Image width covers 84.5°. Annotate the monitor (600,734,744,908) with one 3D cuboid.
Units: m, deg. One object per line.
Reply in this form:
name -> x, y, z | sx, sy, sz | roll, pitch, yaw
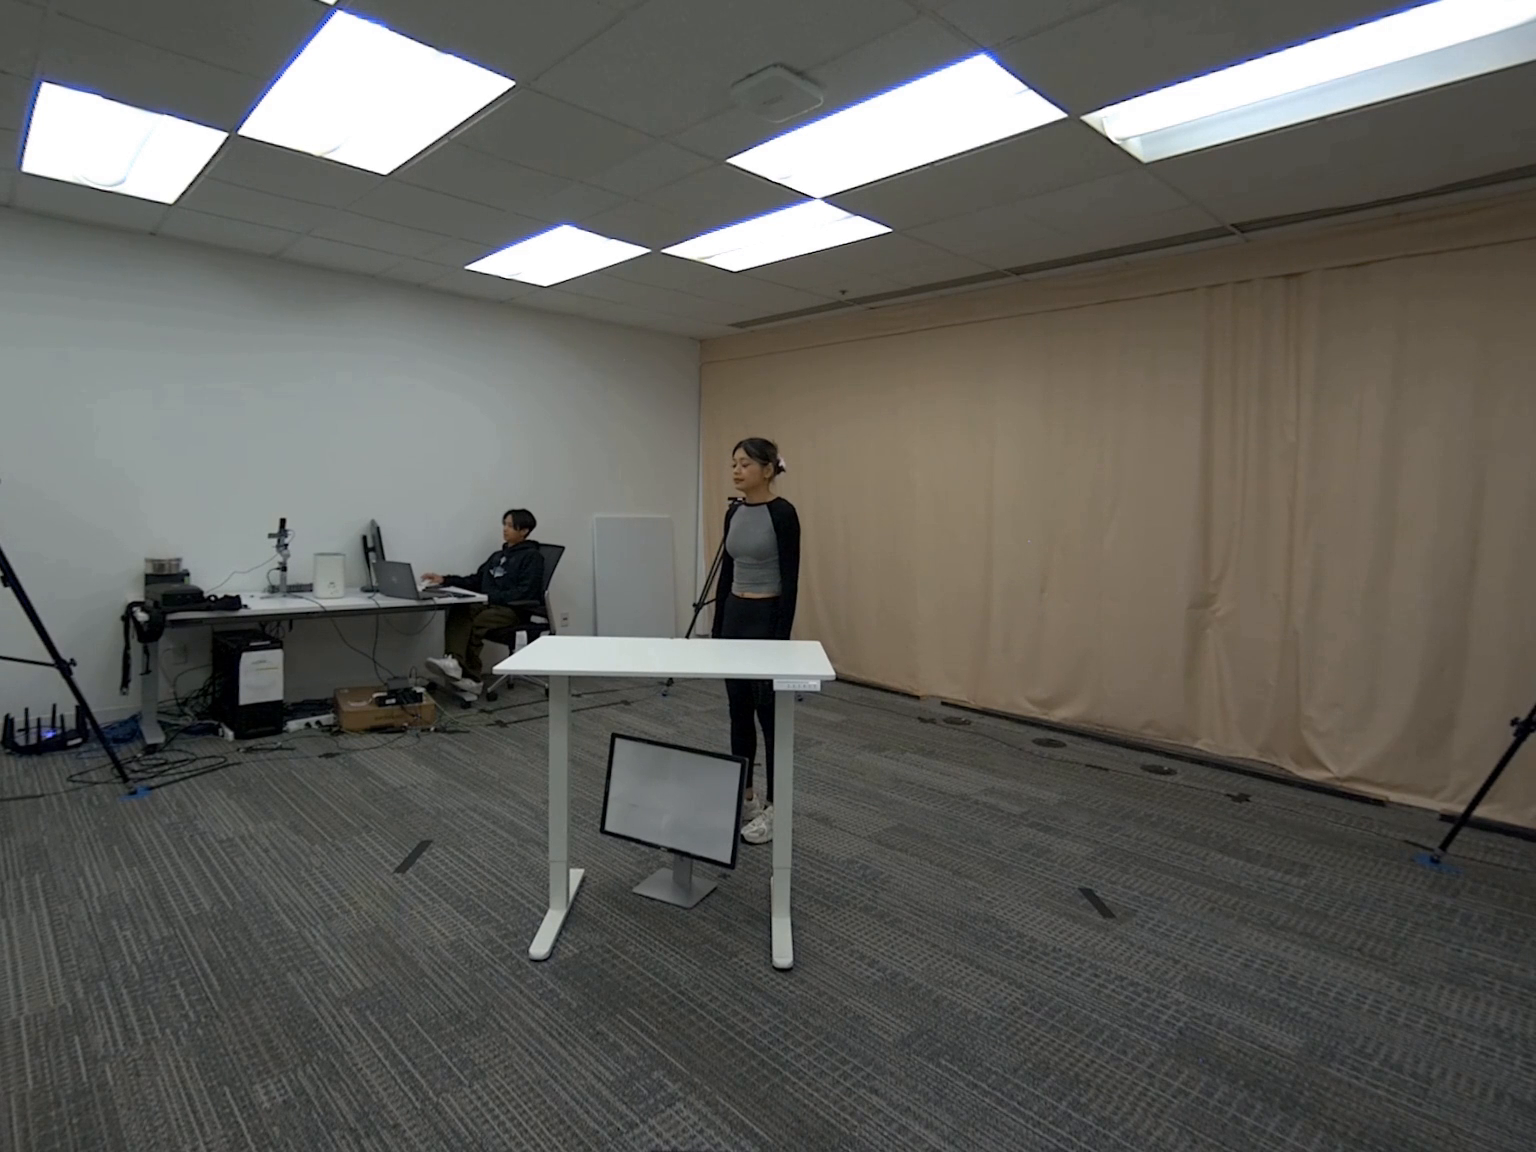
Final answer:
monitor -> -0.328, 0.857, 2.971 | 0.550, 0.520, 0.184 | 3, 6, 27
